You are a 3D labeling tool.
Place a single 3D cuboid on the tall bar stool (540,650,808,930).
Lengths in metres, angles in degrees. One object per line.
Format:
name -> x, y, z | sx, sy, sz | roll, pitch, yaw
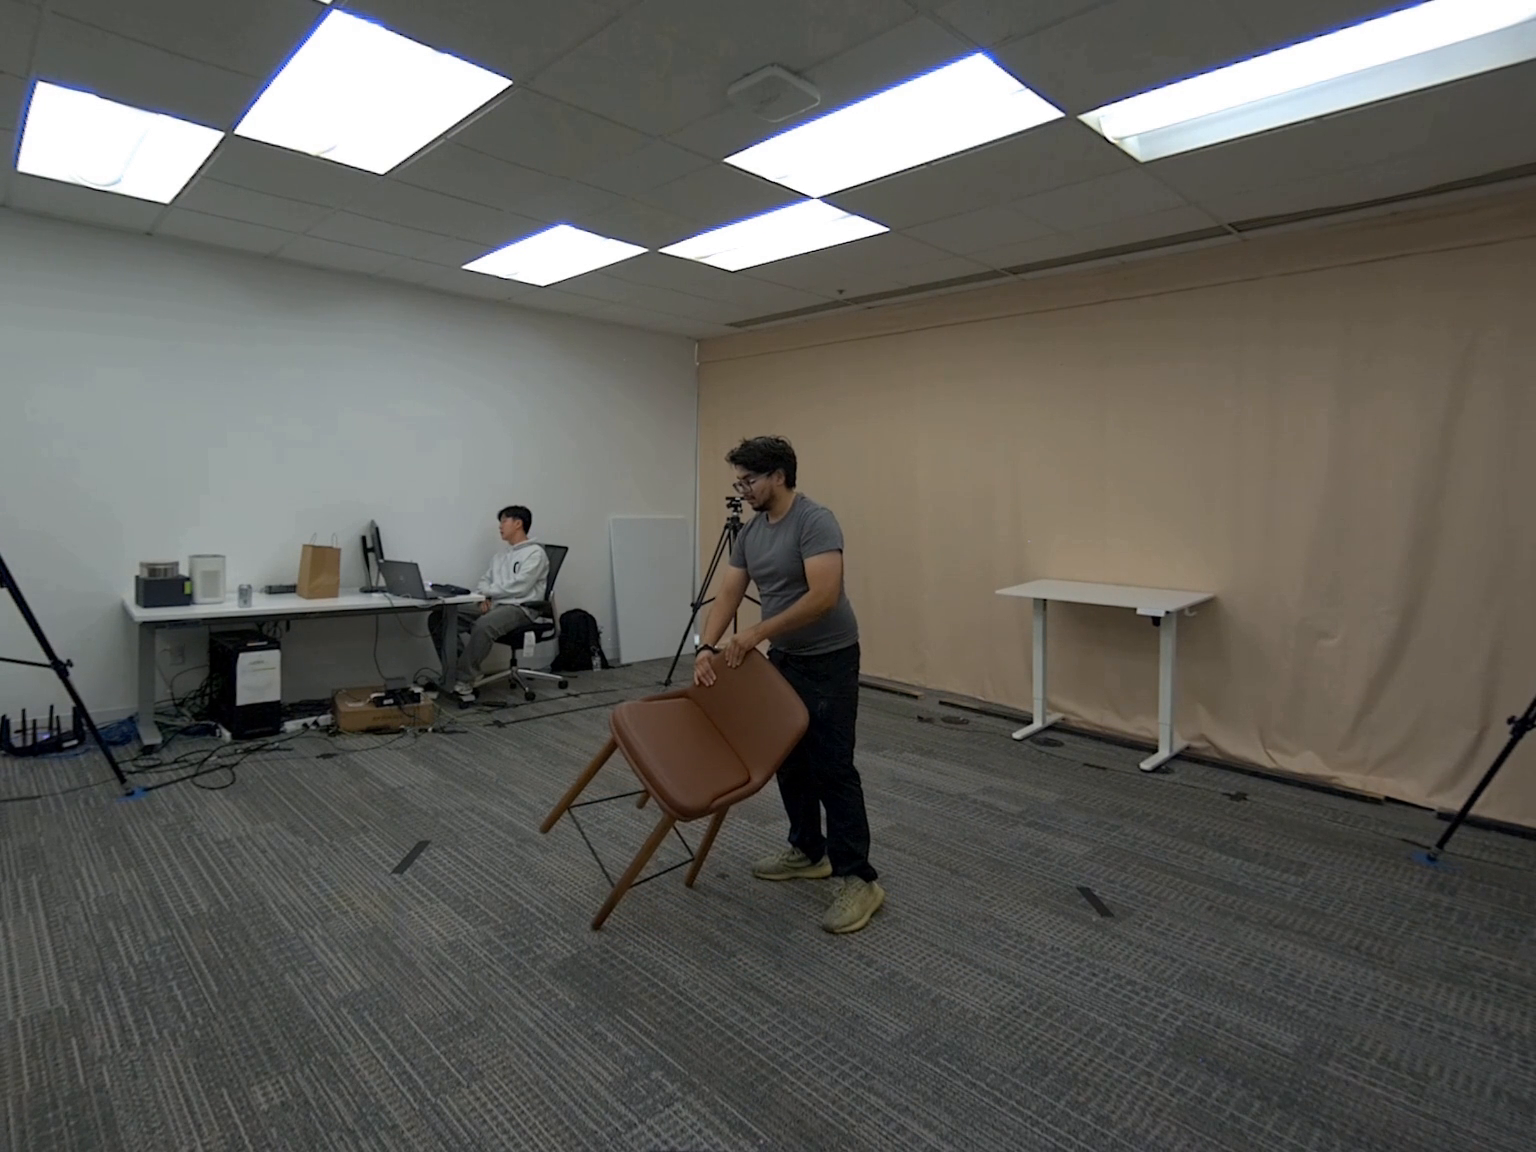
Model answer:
tall bar stool -> -0.326, 0.673, 2.773 | 0.456, 0.886, 0.470 | 3, 37, -49
